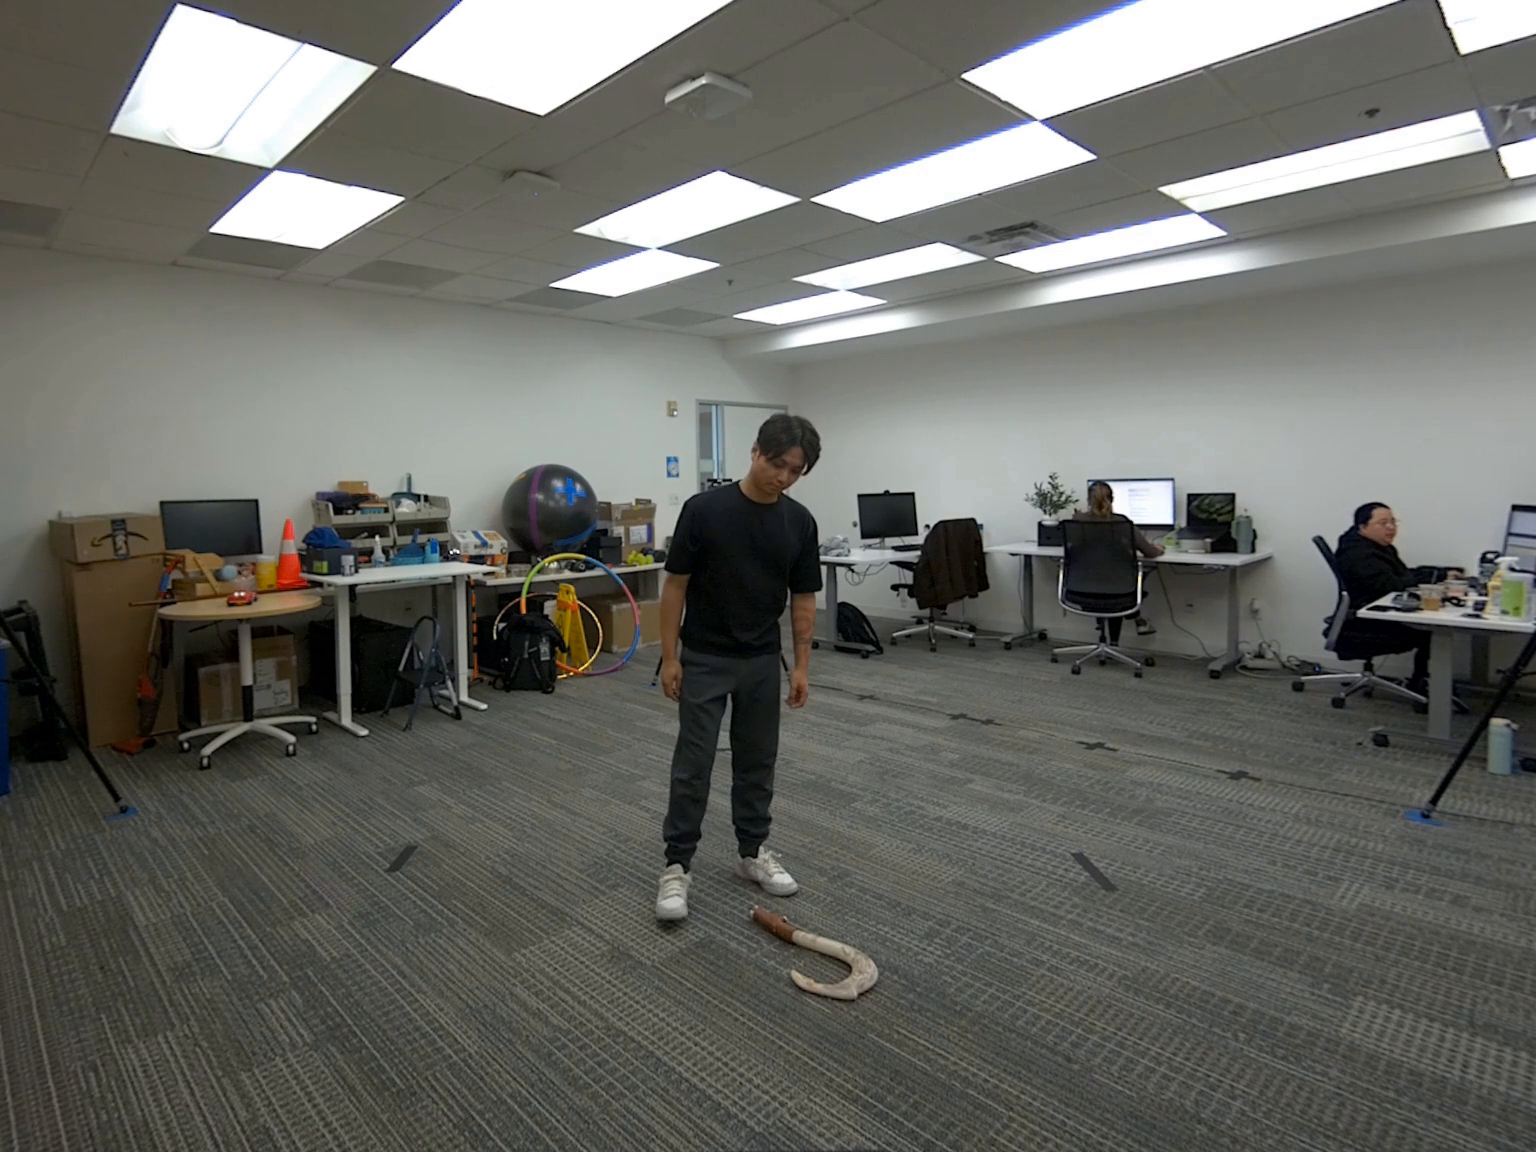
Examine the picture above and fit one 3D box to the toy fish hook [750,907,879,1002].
[{"bbox_3d":[0.092,1.094,2.492,0.218,0.048,0.522,-6,7,-42],"label":"toy fish hook"}]
